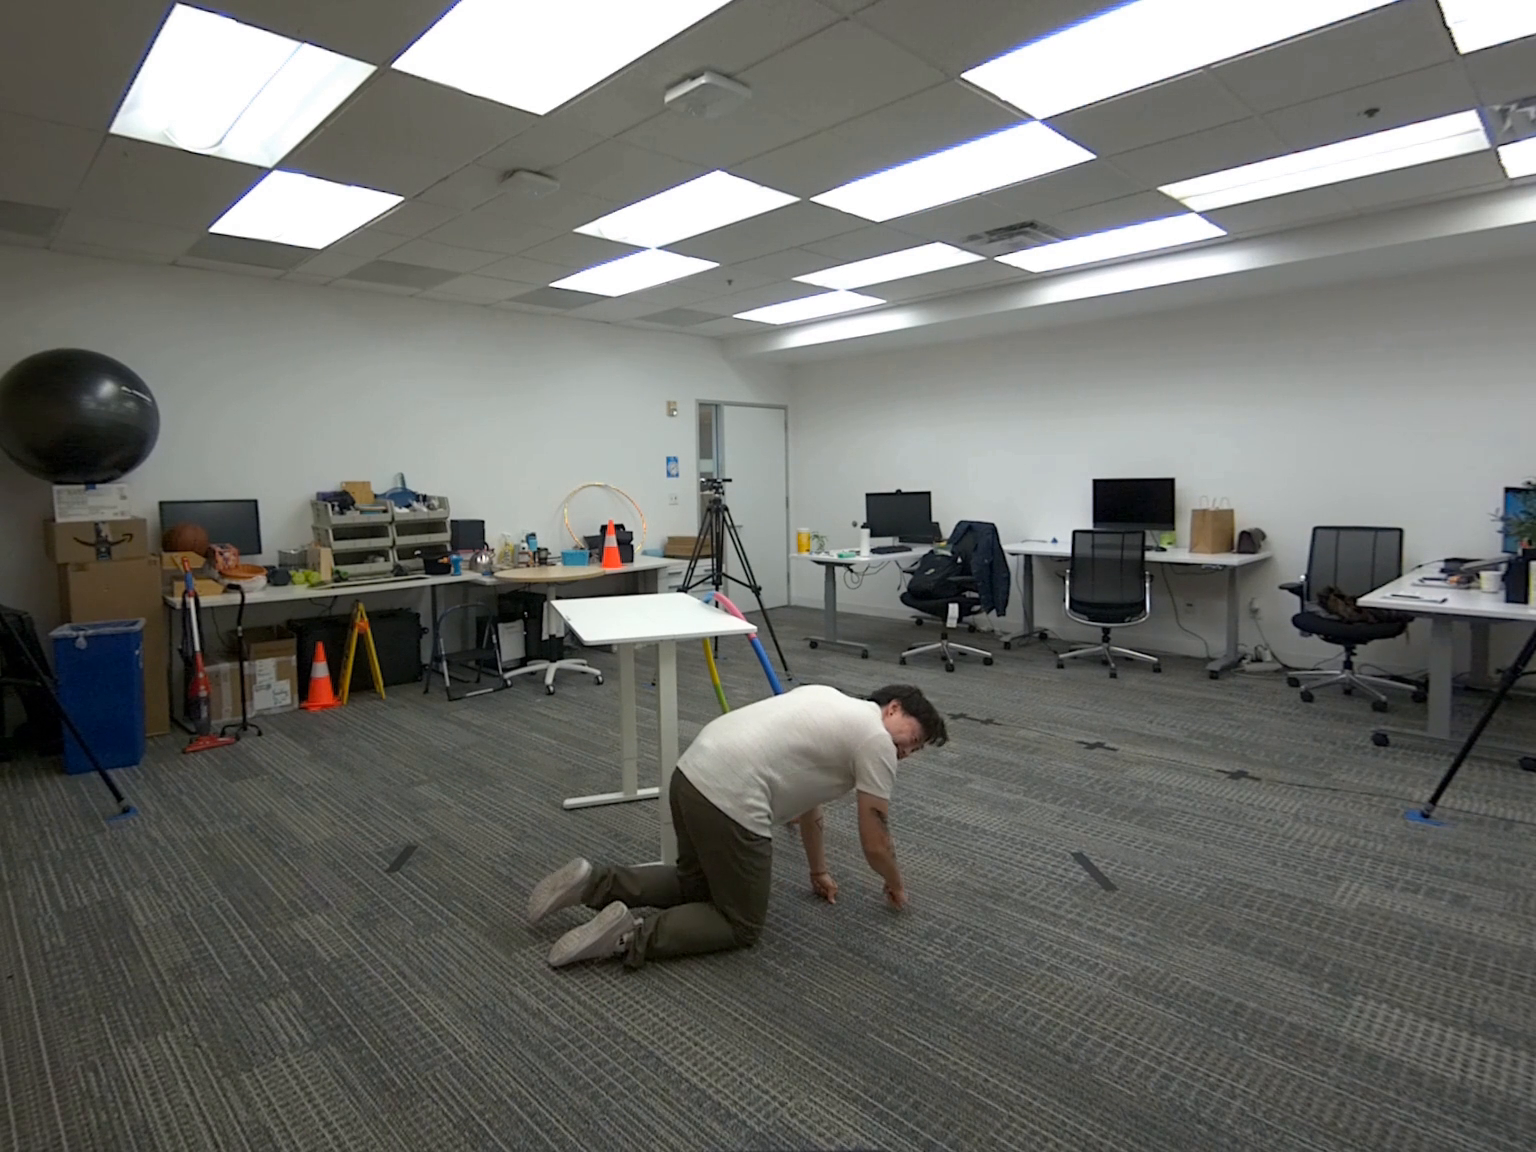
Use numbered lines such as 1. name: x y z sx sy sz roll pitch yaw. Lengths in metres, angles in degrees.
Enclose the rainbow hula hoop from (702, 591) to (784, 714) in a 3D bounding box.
1. rainbow hula hoop: -0.063 0.533 3.501 0.035 0.969 0.999 -19 10 -18
